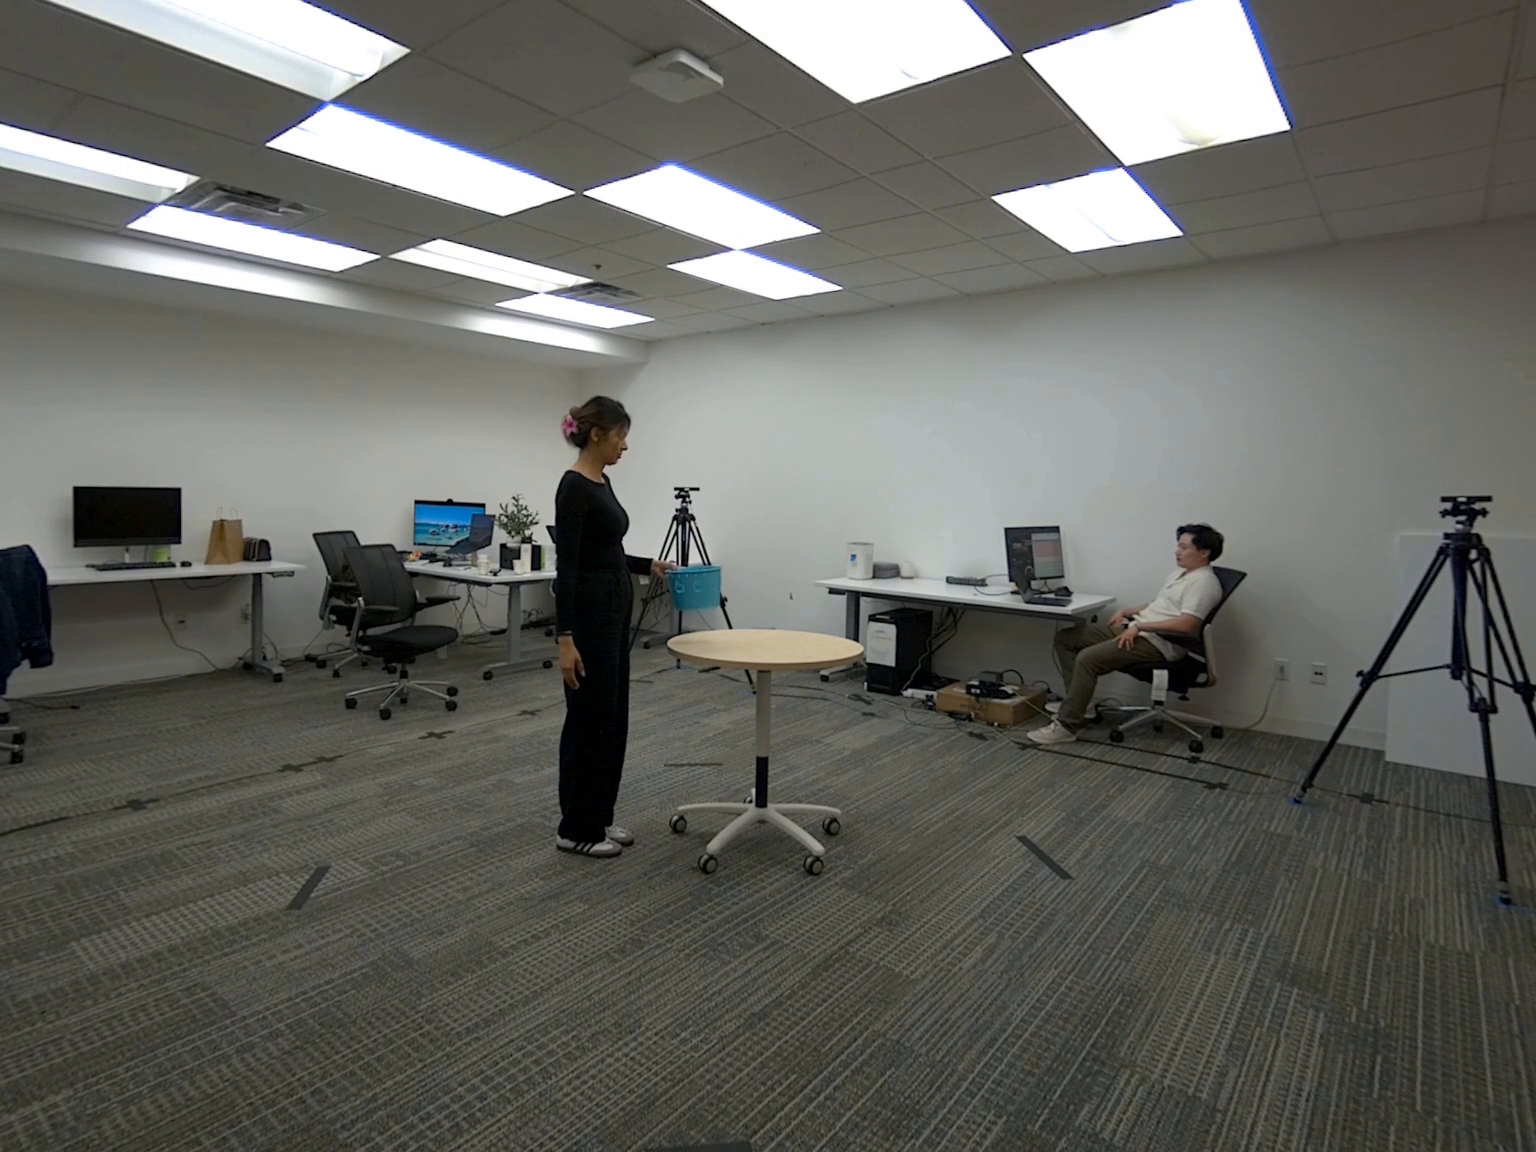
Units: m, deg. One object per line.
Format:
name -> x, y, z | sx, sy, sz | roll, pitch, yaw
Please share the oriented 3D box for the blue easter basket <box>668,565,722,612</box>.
blue easter basket -> -0.310, 0.047, 3.348 | 0.243, 0.155, 0.244 | -3, 4, -2
